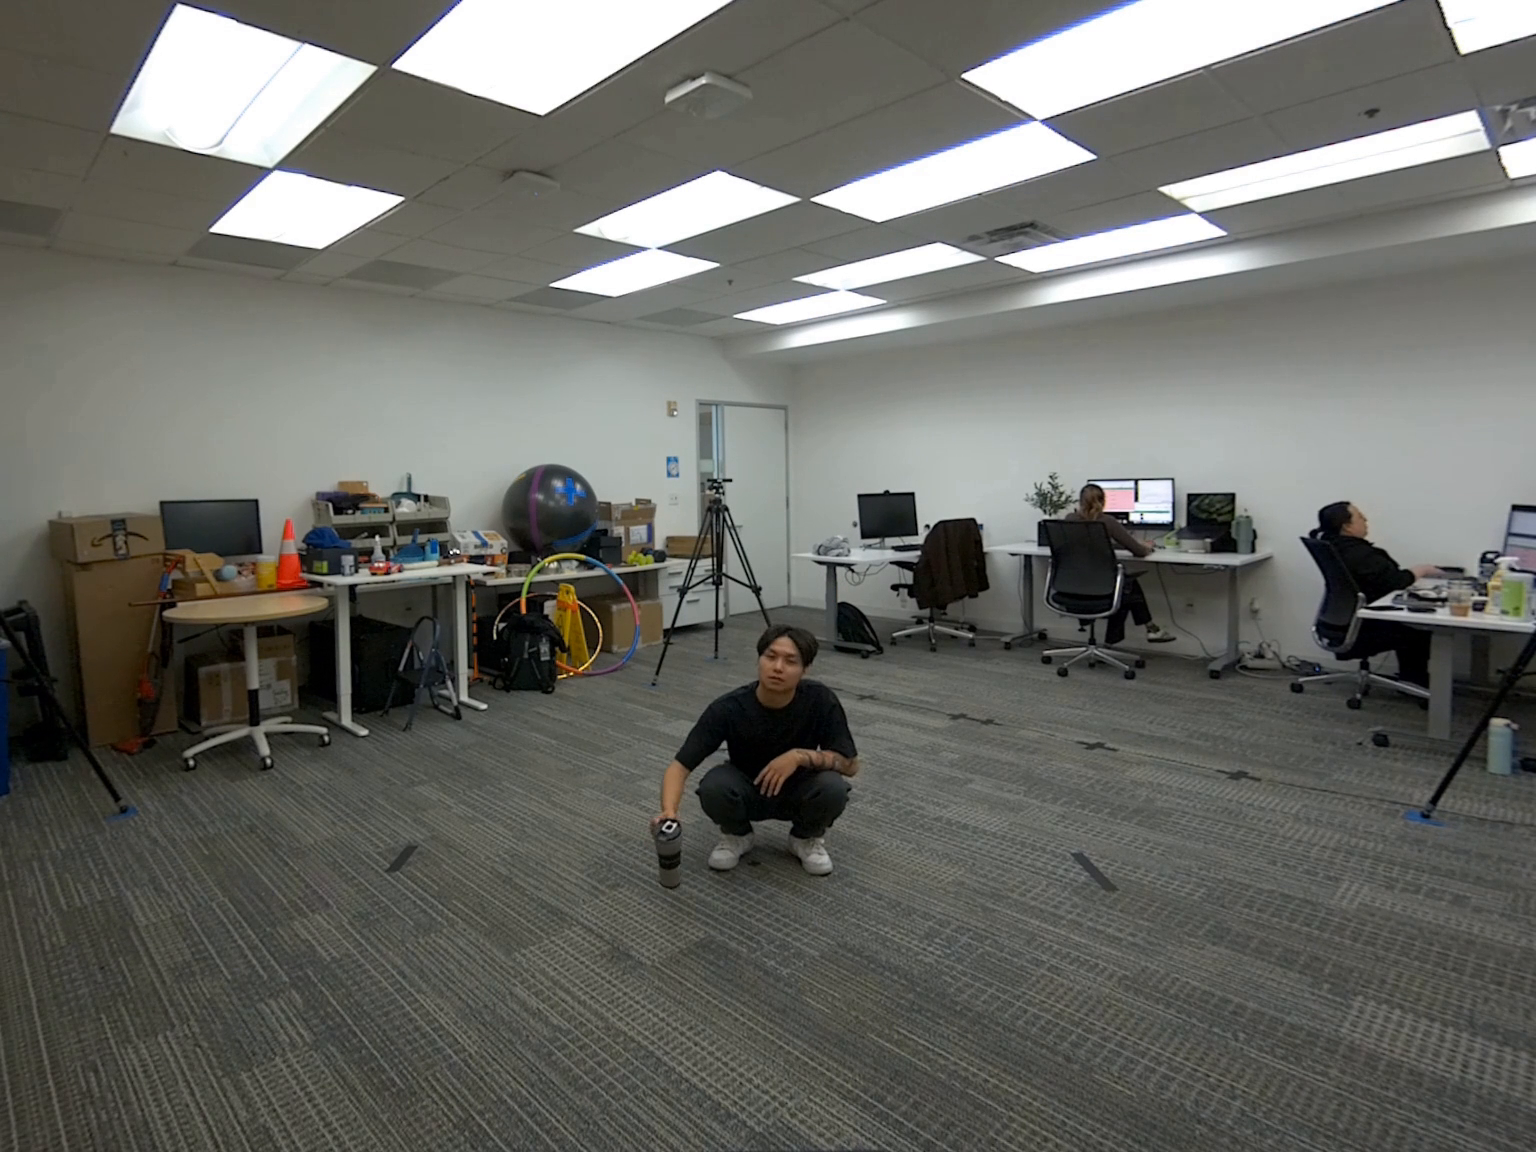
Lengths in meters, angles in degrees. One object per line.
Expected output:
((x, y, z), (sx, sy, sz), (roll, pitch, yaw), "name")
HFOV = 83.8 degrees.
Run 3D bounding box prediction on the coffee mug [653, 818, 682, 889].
((-0.284, 0.870, 2.639), (0.091, 0.199, 0.120), (9, 24, 43), "coffee mug")
